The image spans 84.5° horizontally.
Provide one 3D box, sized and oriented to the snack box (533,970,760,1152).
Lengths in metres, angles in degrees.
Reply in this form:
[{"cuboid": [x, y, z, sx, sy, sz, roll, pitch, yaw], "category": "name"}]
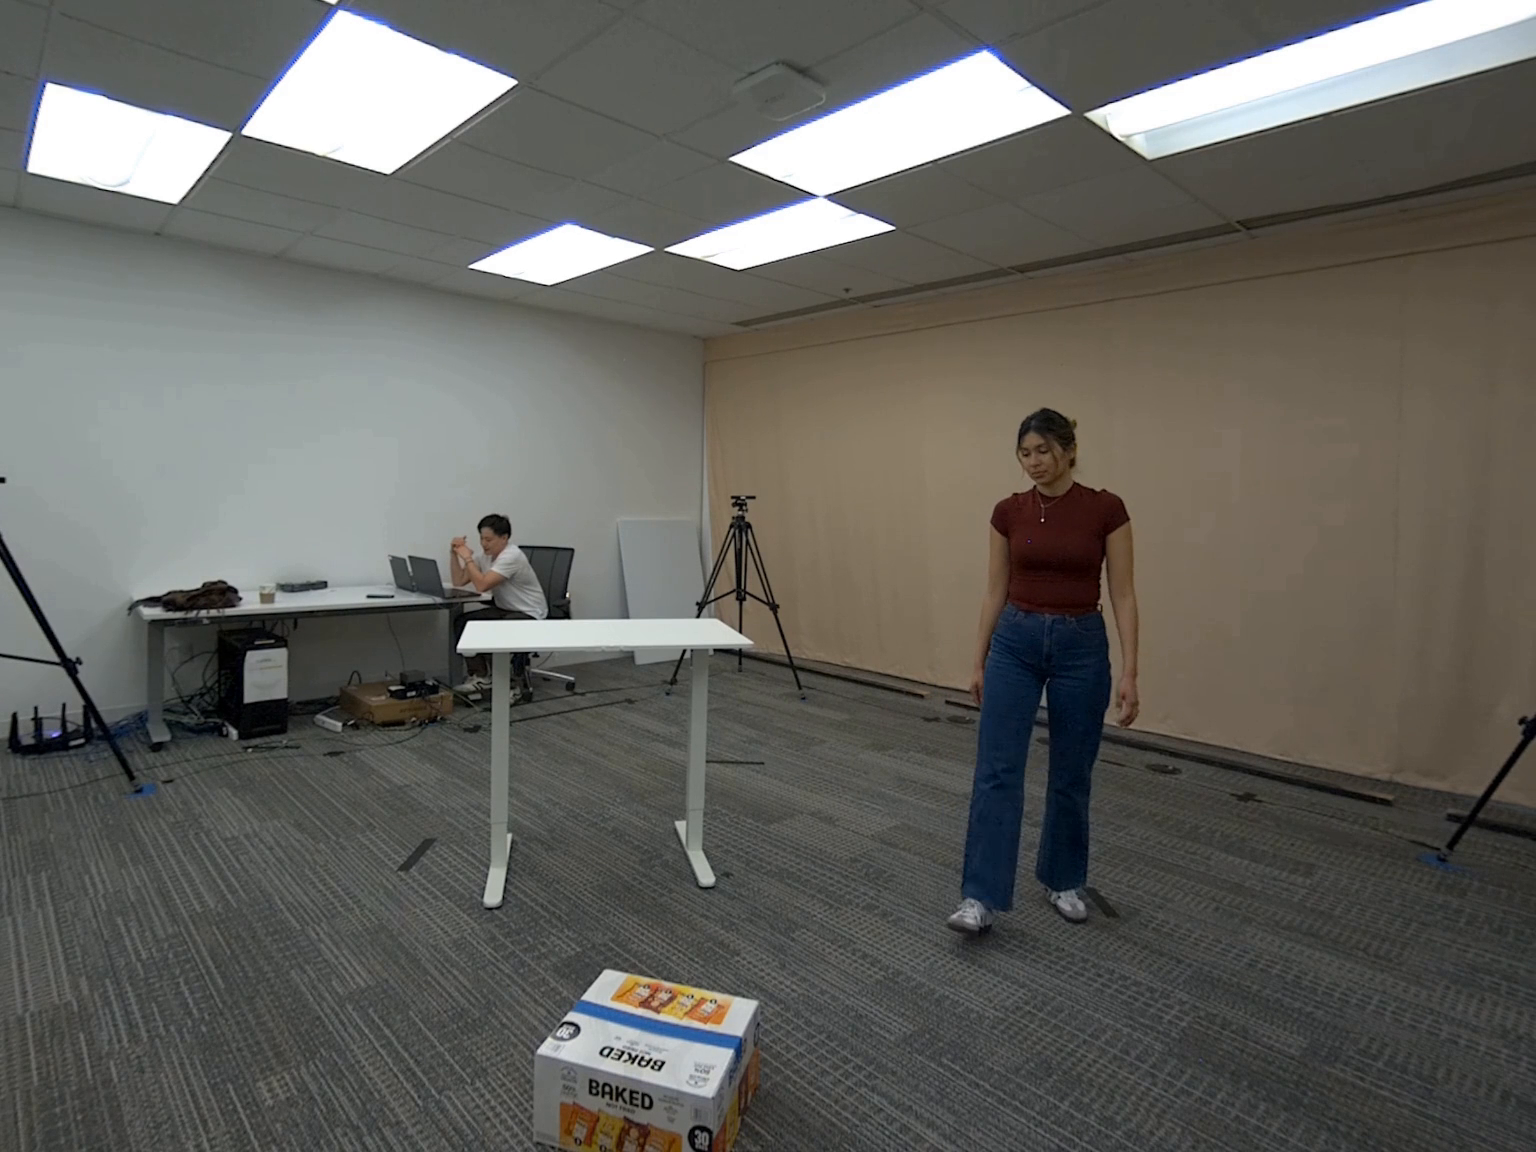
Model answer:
[{"cuboid": [-0.265, 1.116, 1.884, 0.411, 0.205, 0.336, 3, 5, 17], "category": "snack box"}]
